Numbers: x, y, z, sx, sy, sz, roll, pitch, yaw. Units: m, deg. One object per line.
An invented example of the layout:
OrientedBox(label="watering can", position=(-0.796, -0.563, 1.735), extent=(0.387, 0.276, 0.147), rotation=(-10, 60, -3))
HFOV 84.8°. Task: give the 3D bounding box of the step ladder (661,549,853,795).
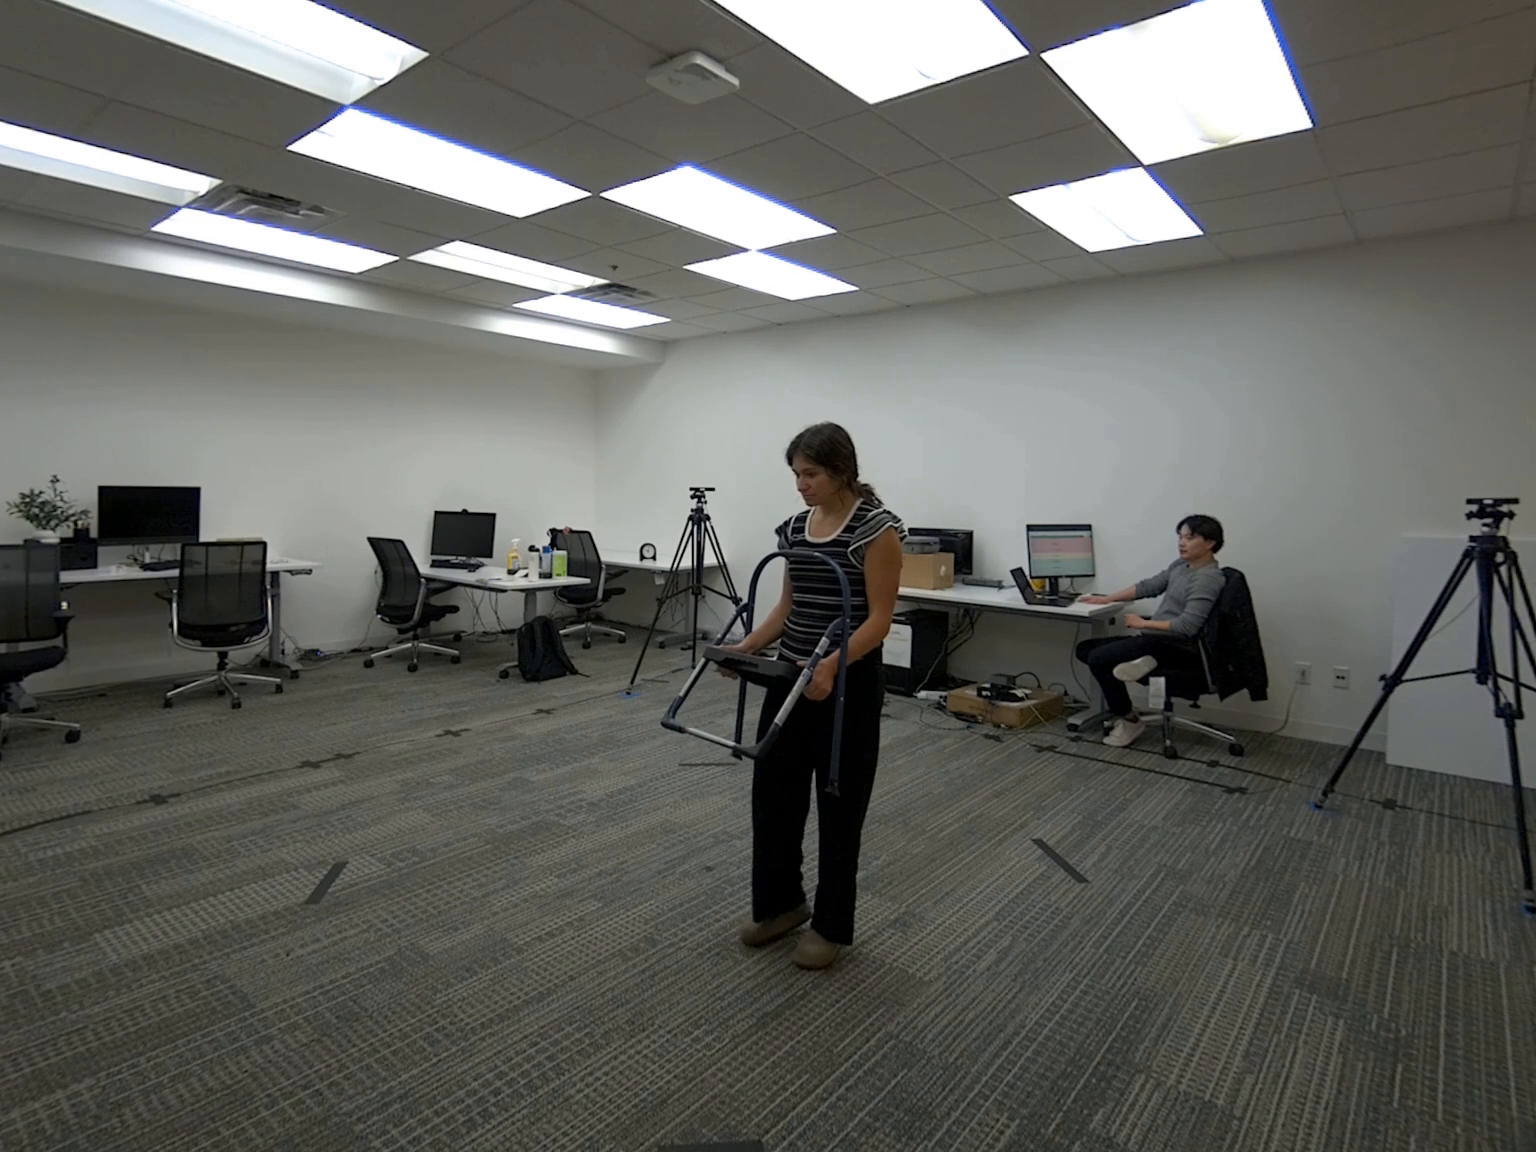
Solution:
OrientedBox(label="step ladder", position=(0.020, 0.234, 2.451), extent=(0.445, 0.611, 0.335), rotation=(4, -22, 47))
